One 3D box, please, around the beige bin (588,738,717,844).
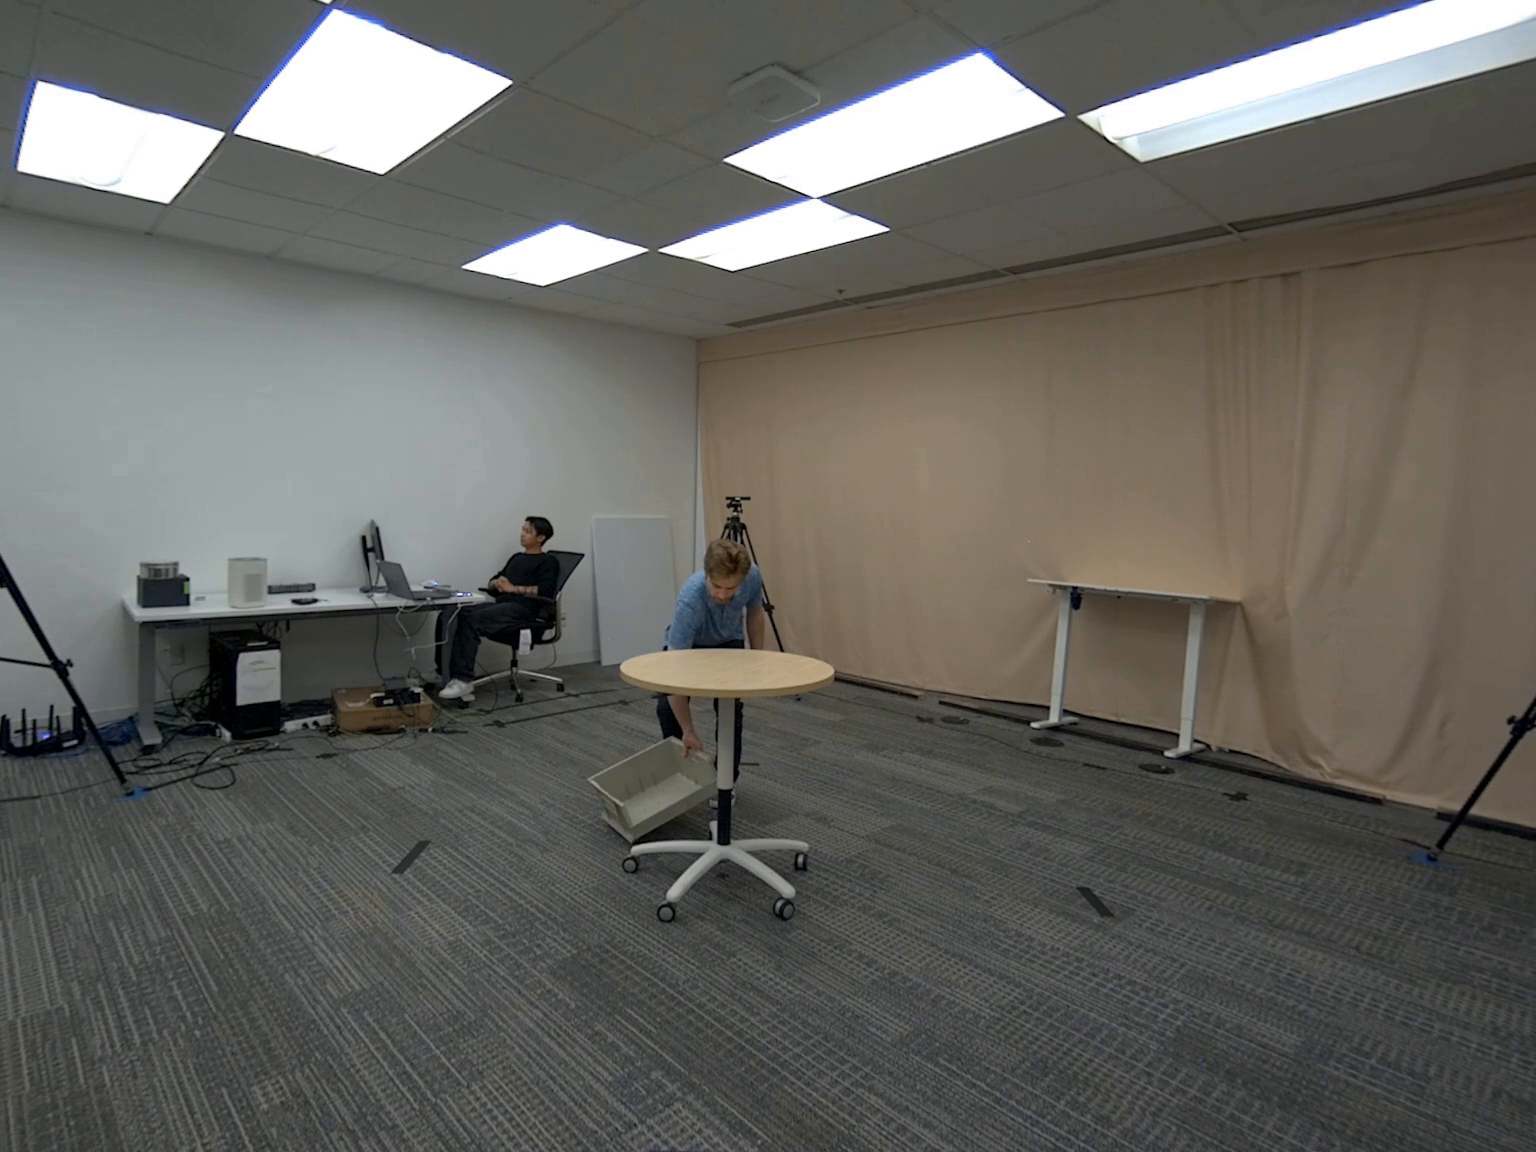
[{"bbox_3d":[-0.482,0.888,3.491,0.417,0.187,0.386,-22,16,-28],"label":"beige bin"}]
